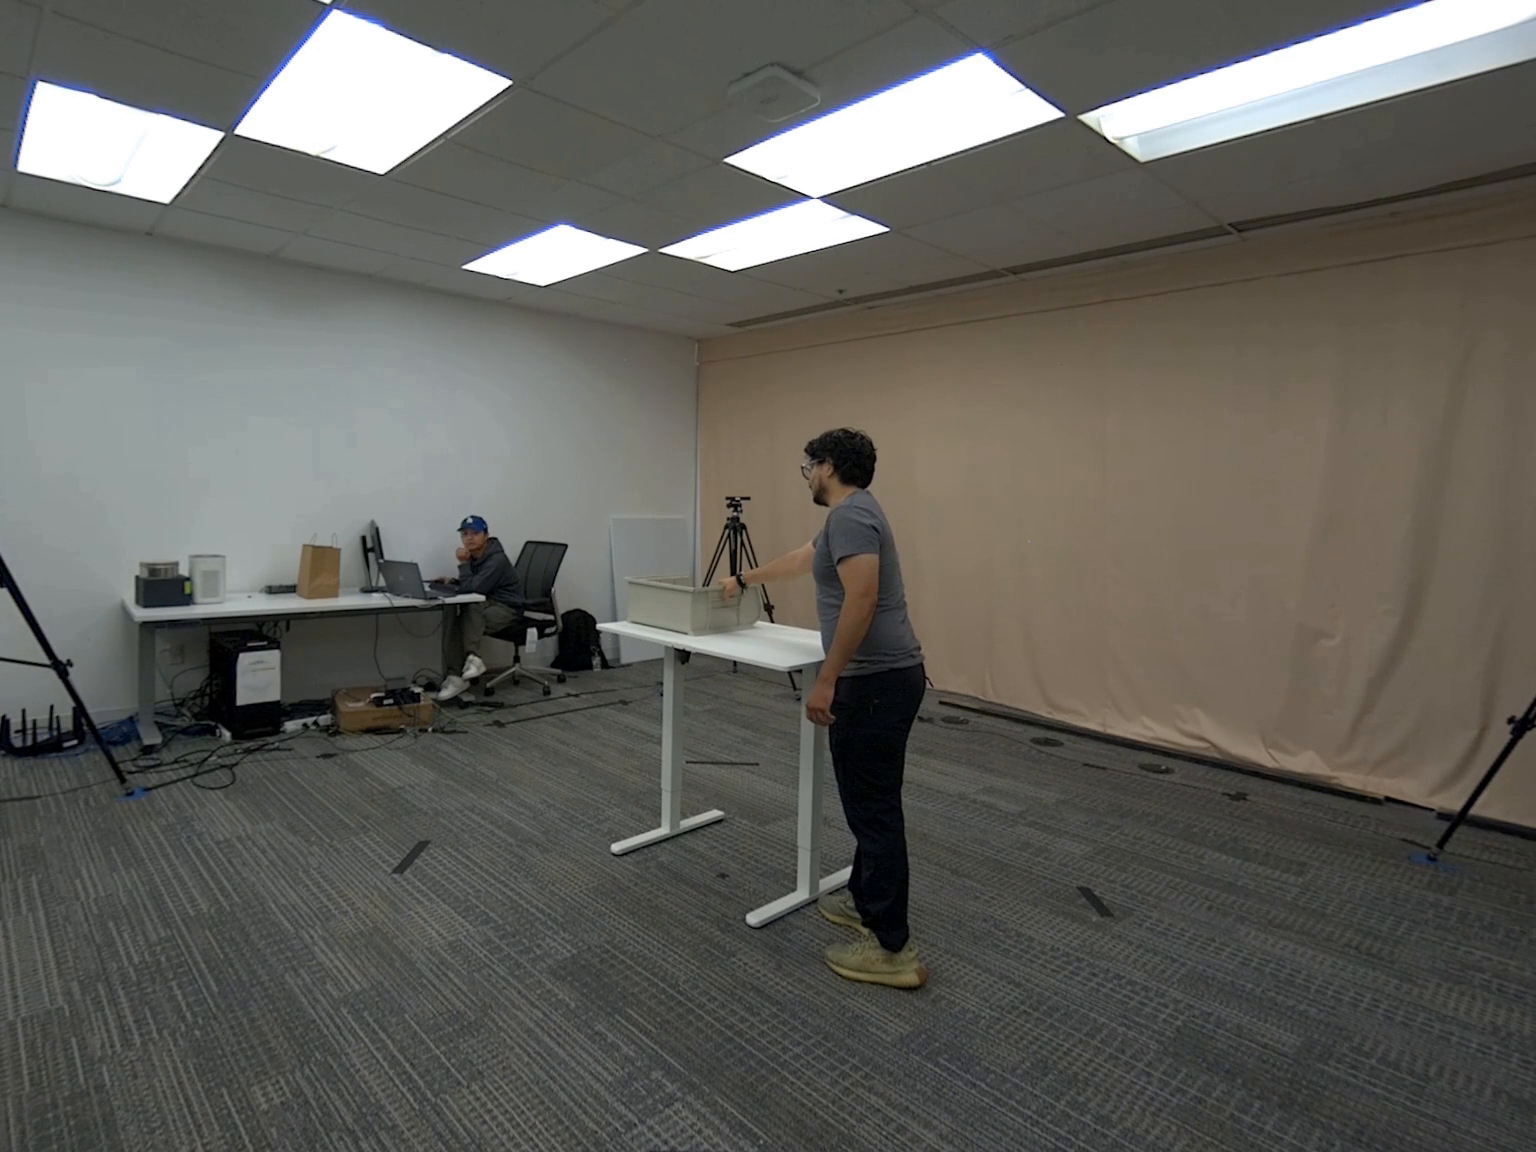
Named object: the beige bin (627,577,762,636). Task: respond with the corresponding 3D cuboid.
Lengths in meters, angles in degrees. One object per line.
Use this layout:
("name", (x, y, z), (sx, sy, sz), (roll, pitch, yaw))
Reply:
("beige bin", (-0.303, 0.107, 3.348), (0.369, 0.188, 0.433), (-5, 9, -44))
